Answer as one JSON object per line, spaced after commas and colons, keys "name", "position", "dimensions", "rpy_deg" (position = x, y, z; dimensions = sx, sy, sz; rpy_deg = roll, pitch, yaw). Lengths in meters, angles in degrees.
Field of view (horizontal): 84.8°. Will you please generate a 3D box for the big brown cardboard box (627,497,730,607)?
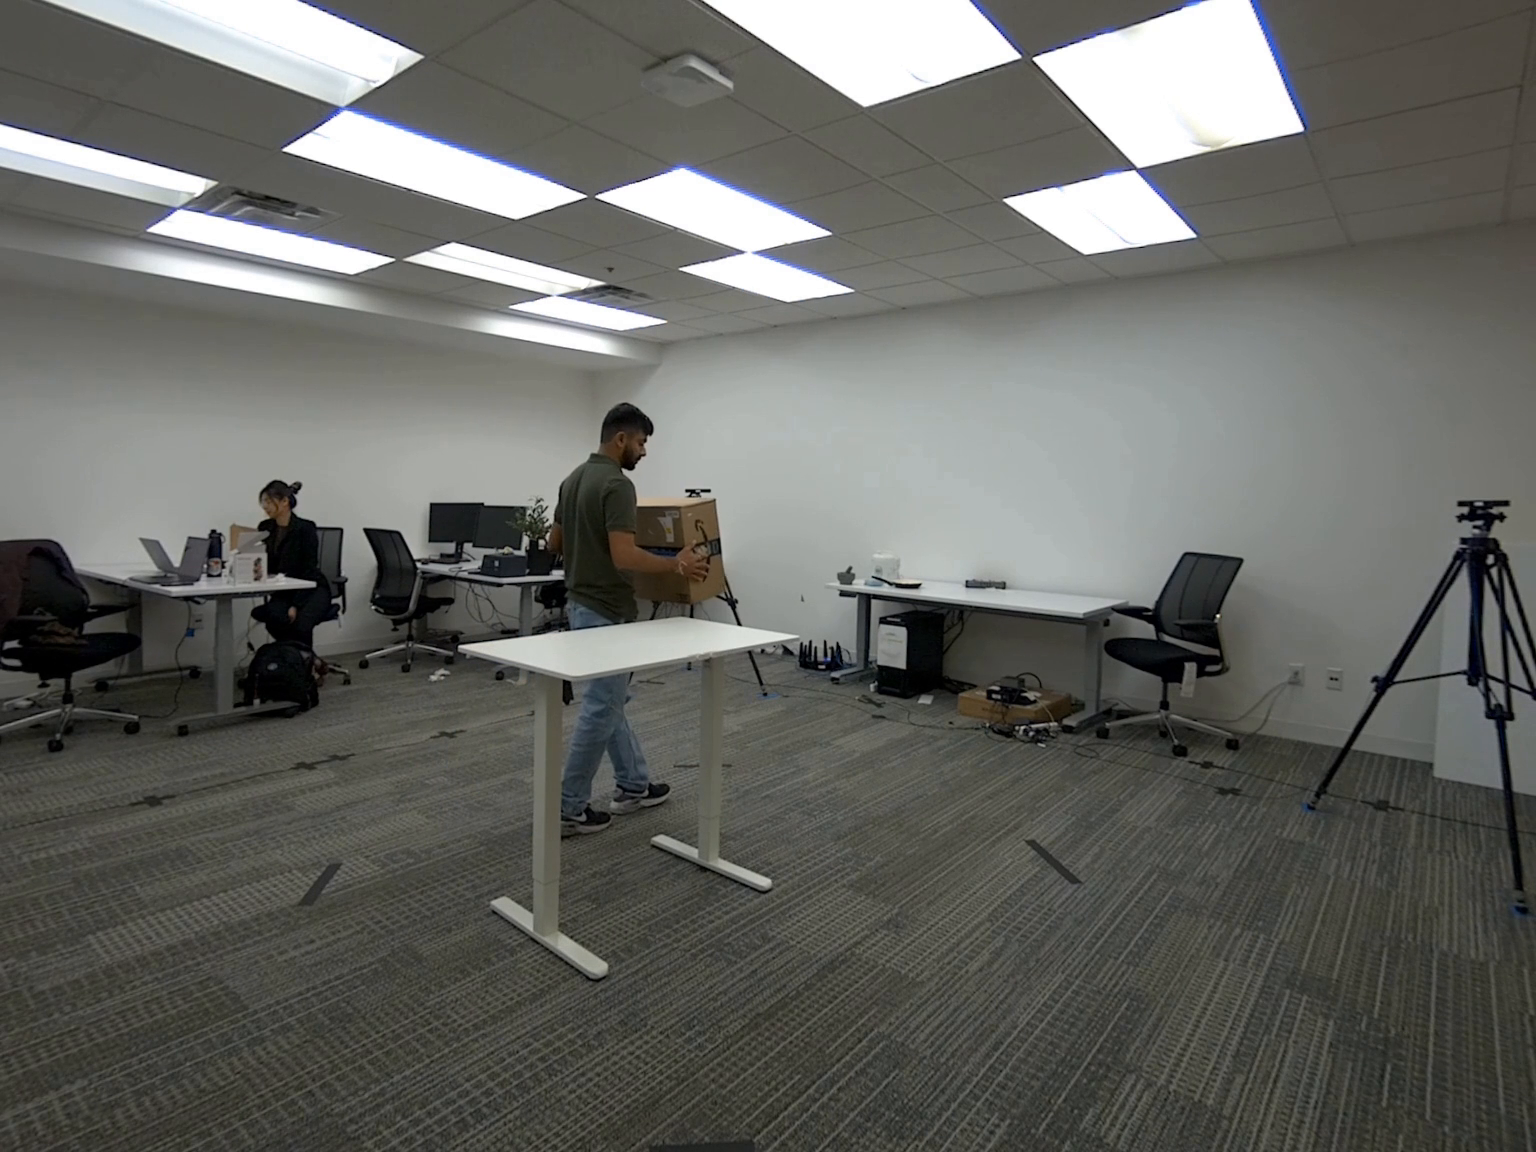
{"name": "big brown cardboard box", "position": [-0.486, -0.124, 3.740], "dimensions": [0.609, 0.413, 0.228], "rpy_deg": [4, 14, 44]}
